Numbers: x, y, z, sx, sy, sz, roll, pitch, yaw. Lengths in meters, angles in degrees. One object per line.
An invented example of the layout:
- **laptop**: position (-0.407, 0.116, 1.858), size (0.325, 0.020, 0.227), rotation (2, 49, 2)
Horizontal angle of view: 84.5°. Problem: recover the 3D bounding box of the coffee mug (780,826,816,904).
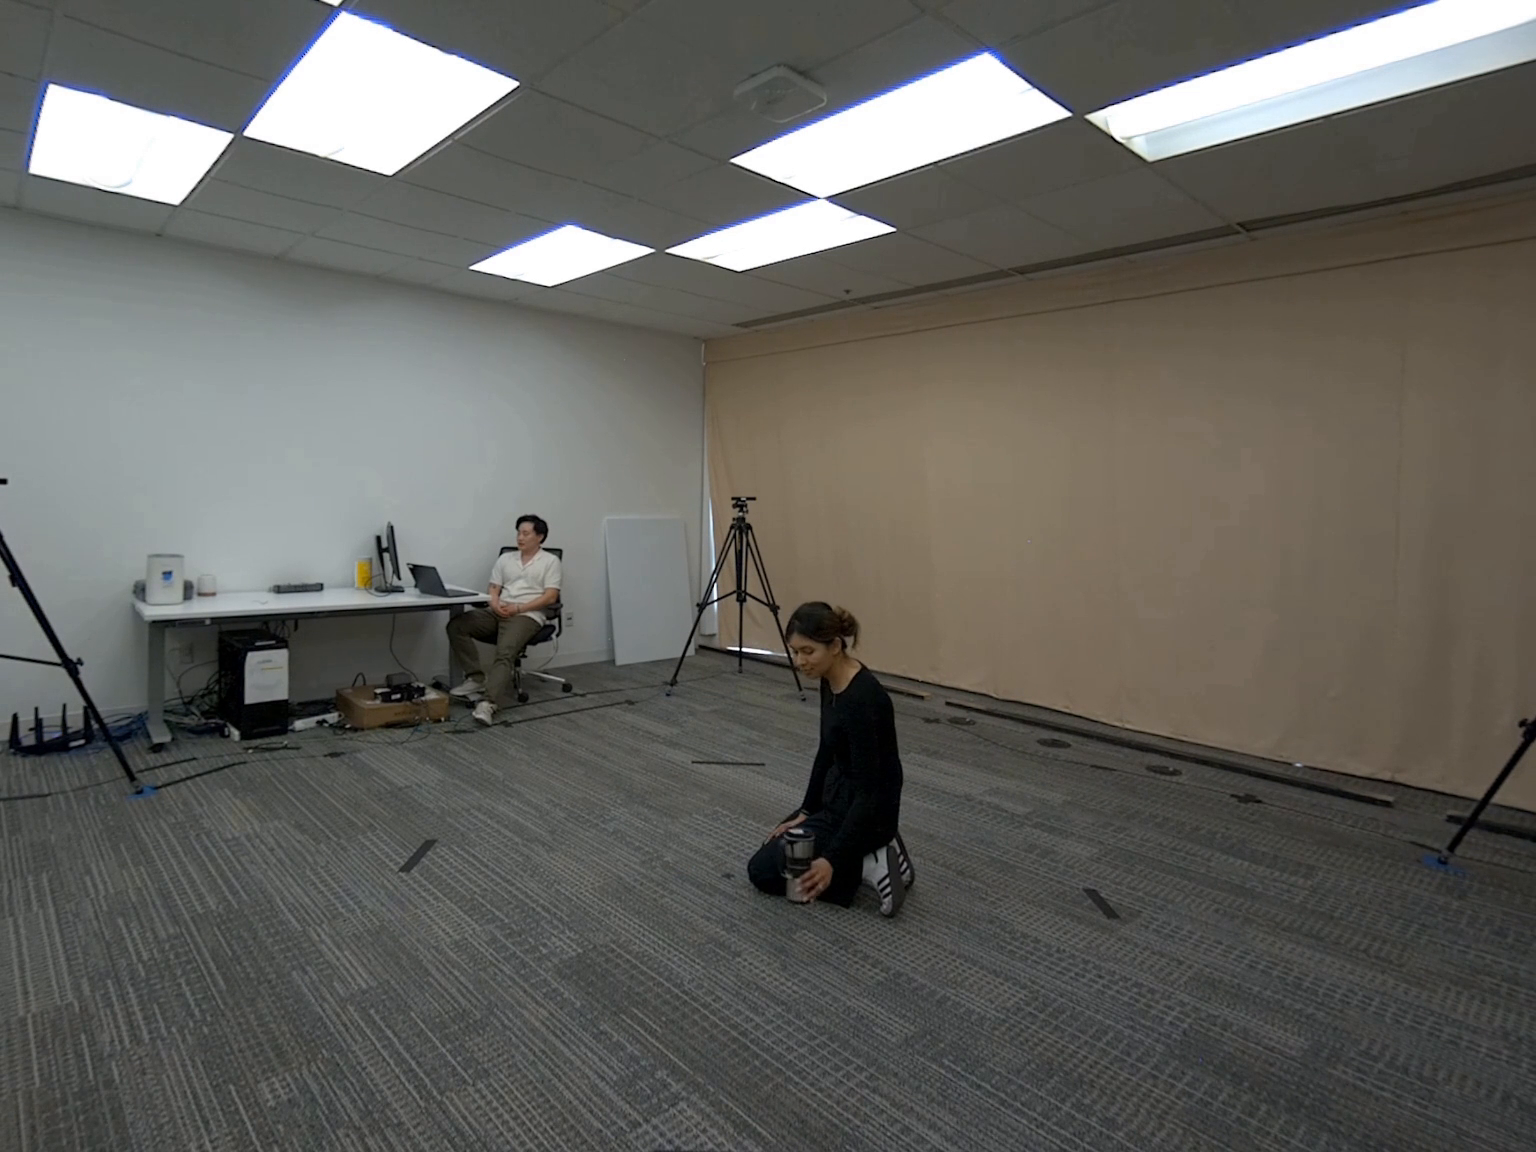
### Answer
- **coffee mug**: position (0.055, 0.855, 2.460), size (0.120, 0.203, 0.089), rotation (7, -4, -21)
